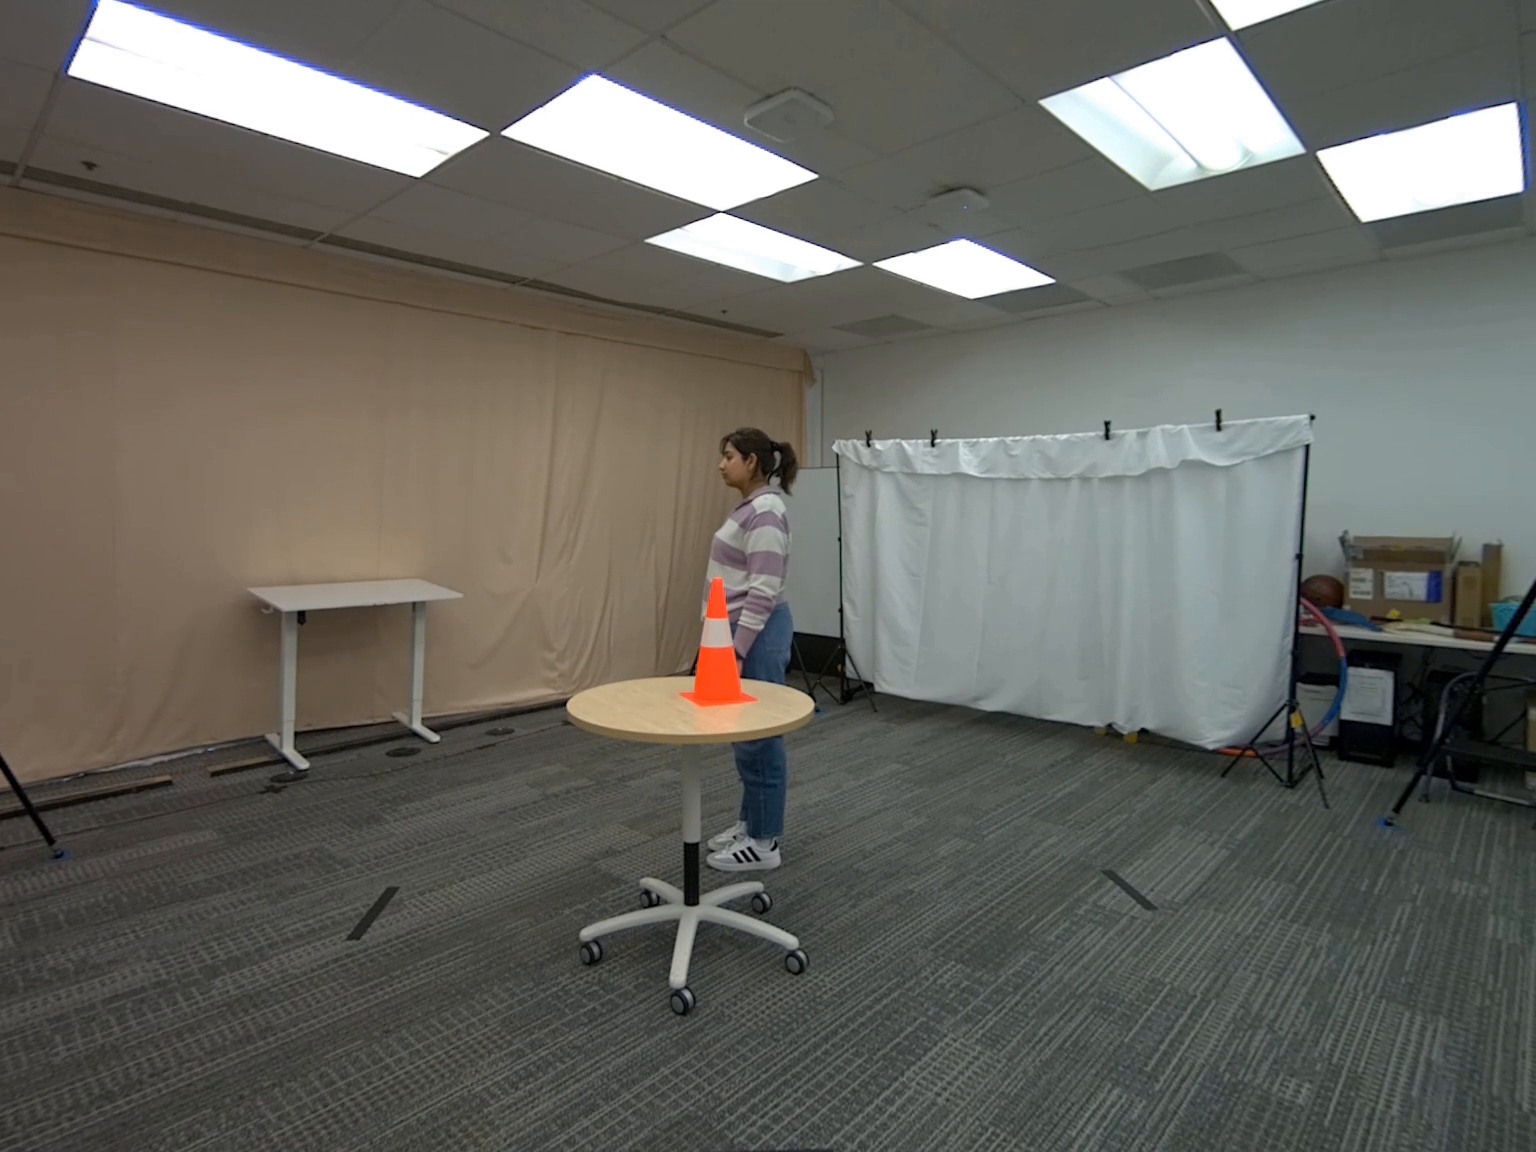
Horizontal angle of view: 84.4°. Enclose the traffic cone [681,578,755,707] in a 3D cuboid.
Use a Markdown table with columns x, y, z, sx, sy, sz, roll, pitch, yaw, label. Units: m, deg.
| x | y | z | sx | sy | sz | roll | pitch | yaw | label |
| --- | --- | --- | --- | --- | --- | --- | --- | --- | --- |
| -0.161 | 0.198 | 2.670 | 0.199 | 0.383 | 0.210 | -3 | 3 | -24 | traffic cone |
